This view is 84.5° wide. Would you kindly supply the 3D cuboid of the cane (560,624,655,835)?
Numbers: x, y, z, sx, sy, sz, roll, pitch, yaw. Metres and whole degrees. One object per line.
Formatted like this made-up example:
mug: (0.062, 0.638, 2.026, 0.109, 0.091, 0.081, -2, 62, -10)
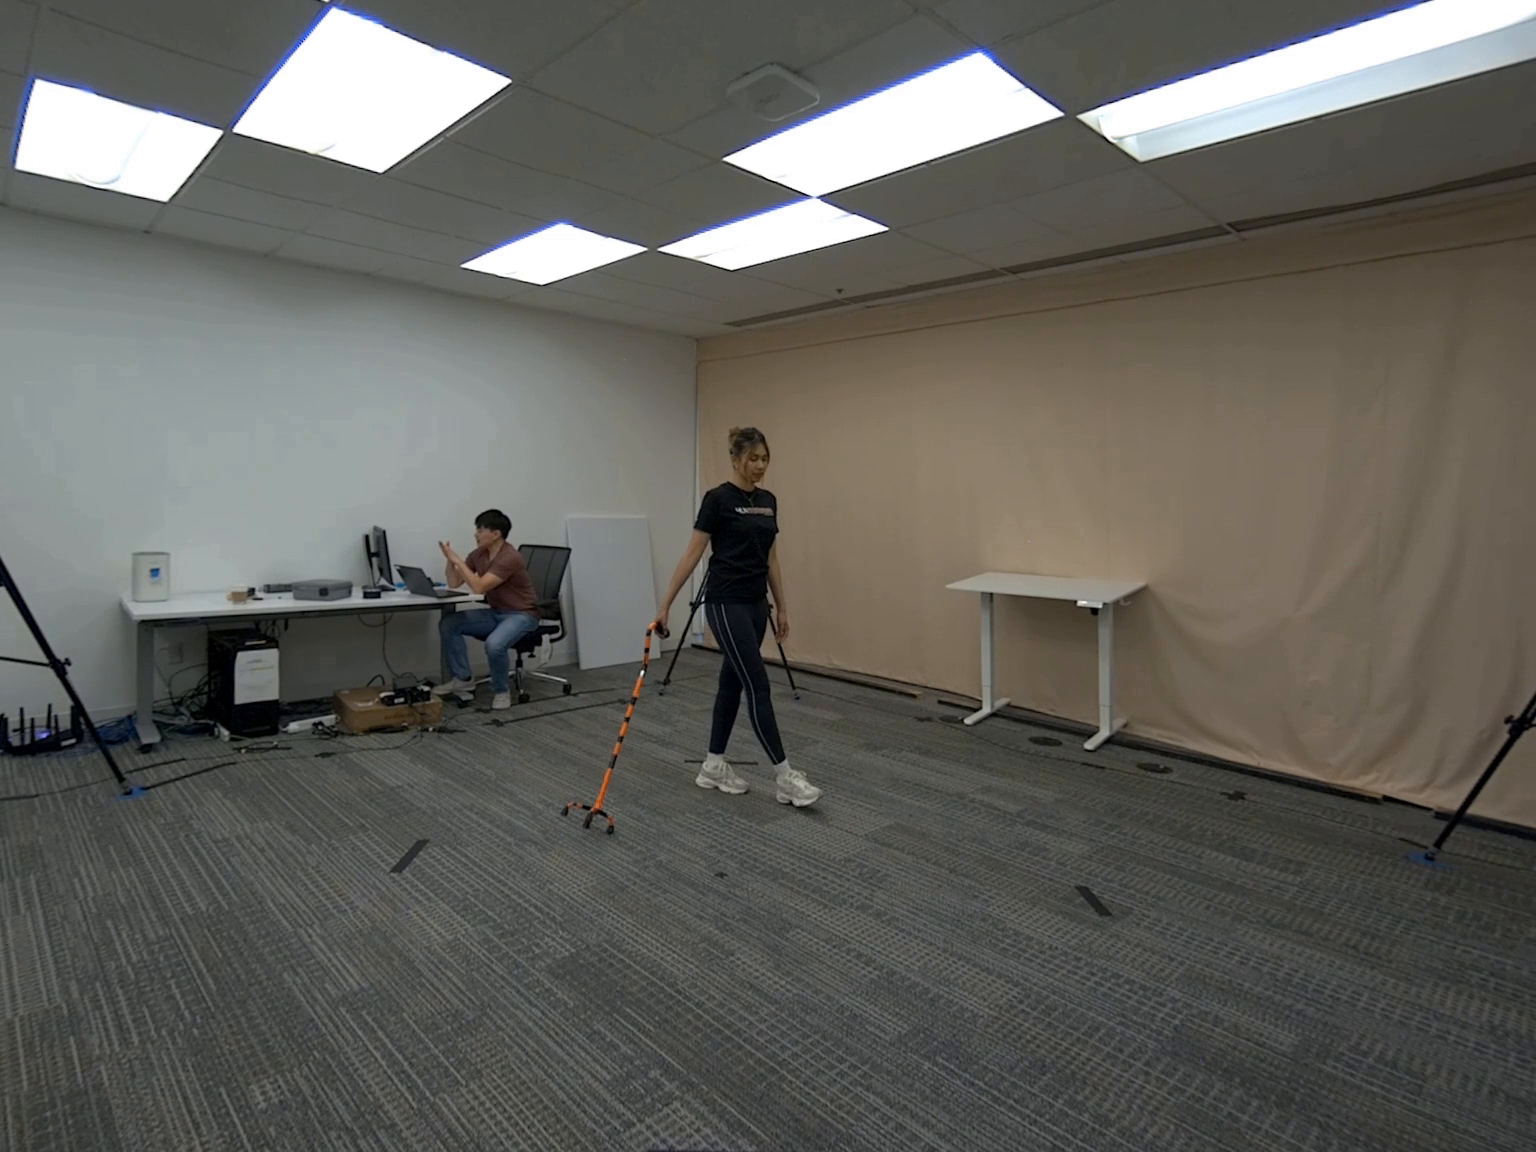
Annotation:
cane: (-0.627, 0.612, 3.613, 0.154, 0.918, 0.200, 2, -29, 26)
